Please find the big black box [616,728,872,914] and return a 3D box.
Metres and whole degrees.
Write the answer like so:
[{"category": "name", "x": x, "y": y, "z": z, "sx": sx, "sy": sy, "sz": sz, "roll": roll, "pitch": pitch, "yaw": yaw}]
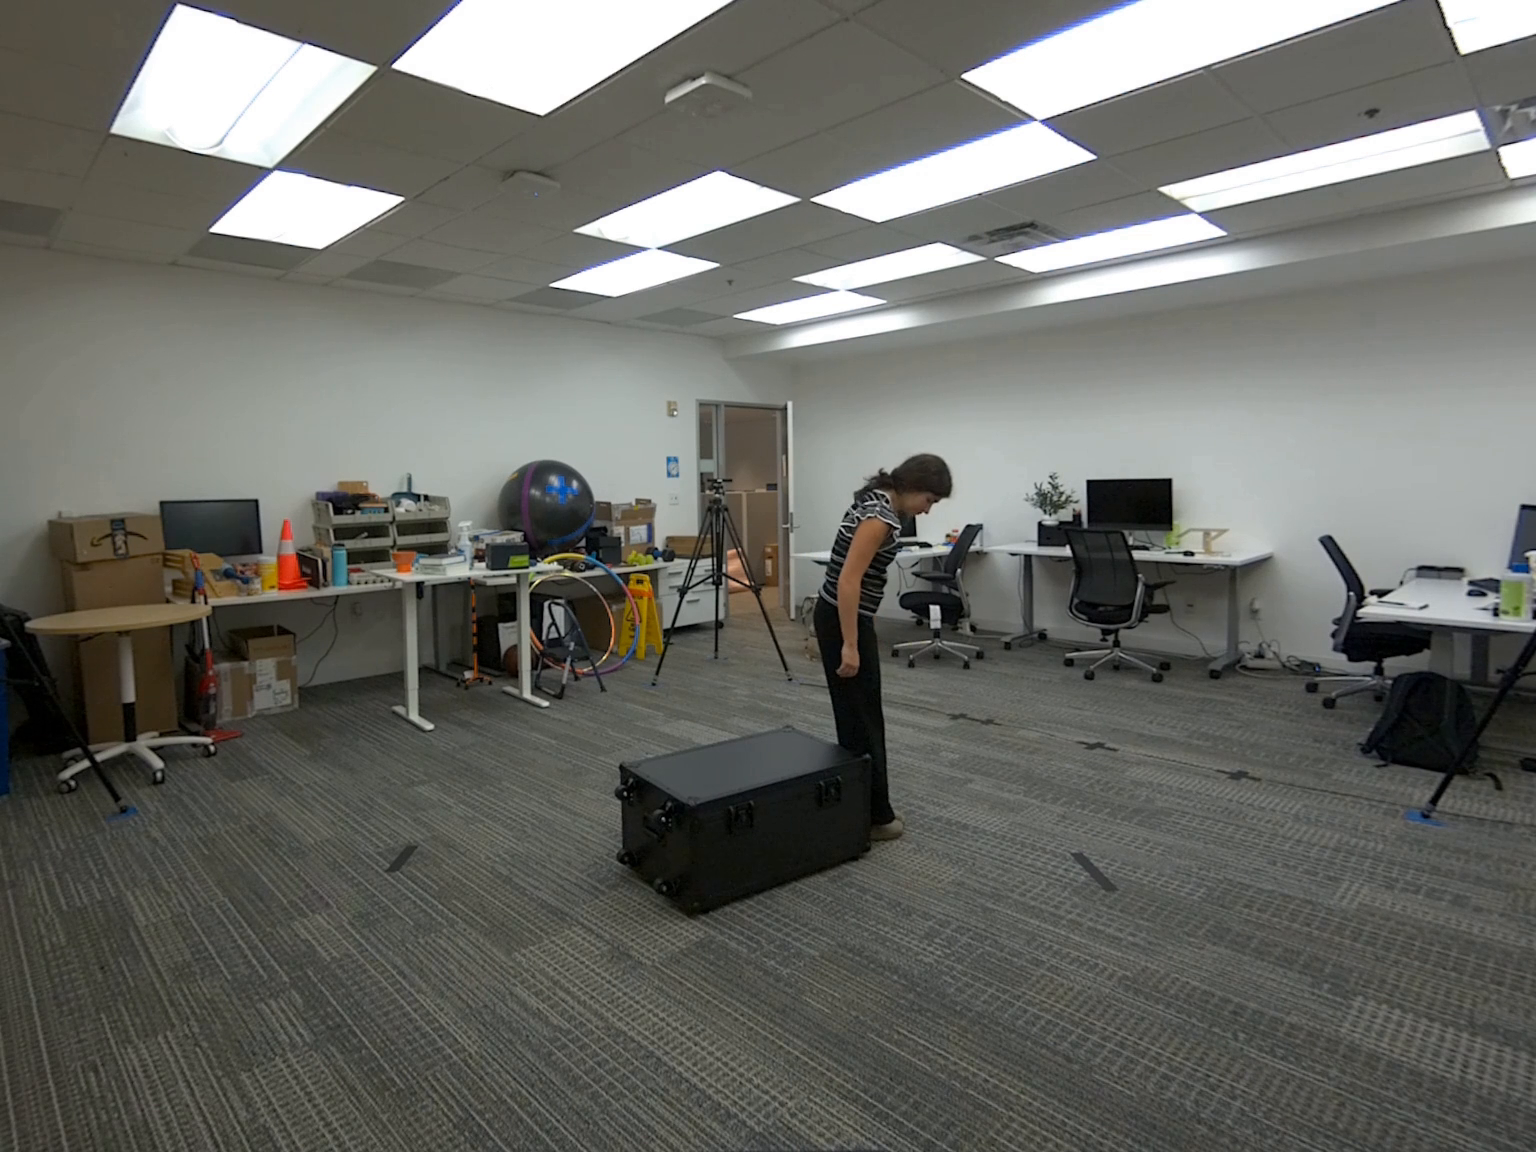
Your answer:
[{"category": "big black box", "x": -0.108, "y": 0.857, "z": 3.095, "sx": 0.839, "sy": 0.395, "sz": 0.537, "roll": -4, "pitch": 6, "yaw": -35}]
